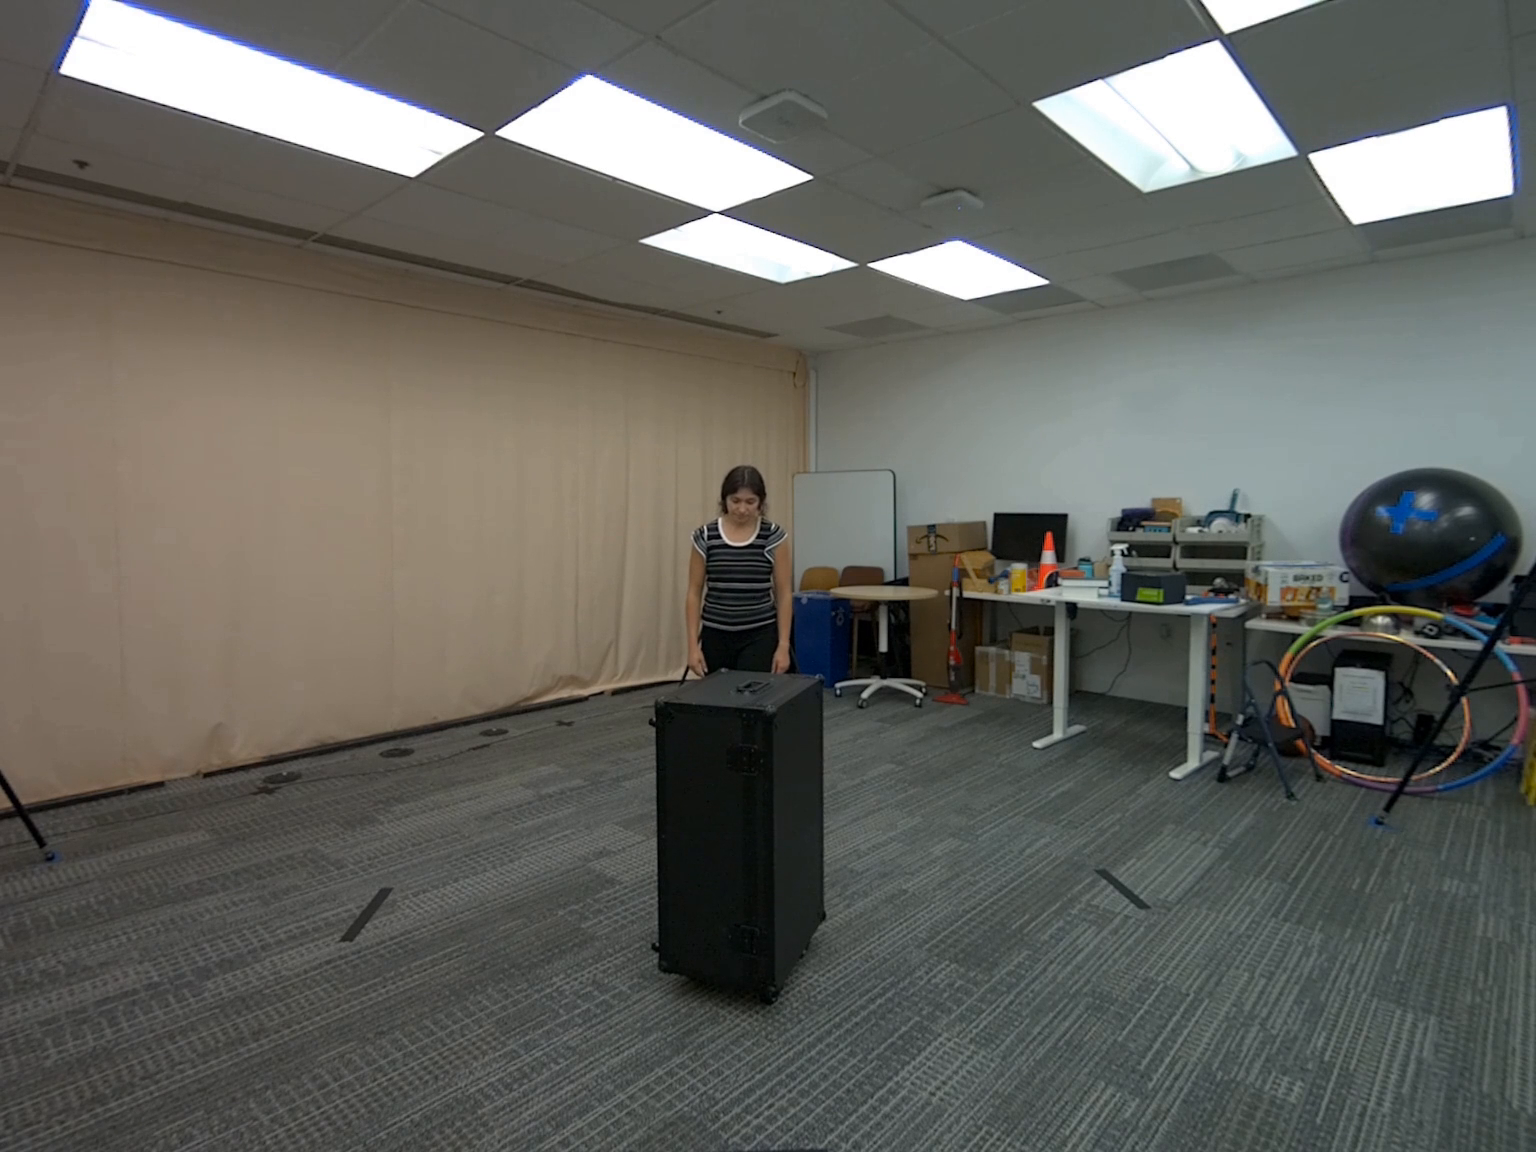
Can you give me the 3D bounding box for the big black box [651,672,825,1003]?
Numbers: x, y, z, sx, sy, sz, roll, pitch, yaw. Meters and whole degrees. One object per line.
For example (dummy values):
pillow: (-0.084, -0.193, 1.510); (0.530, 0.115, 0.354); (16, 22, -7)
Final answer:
big black box: (-0.074, 0.751, 2.531); (0.405, 0.860, 0.511); (0, 3, 21)
